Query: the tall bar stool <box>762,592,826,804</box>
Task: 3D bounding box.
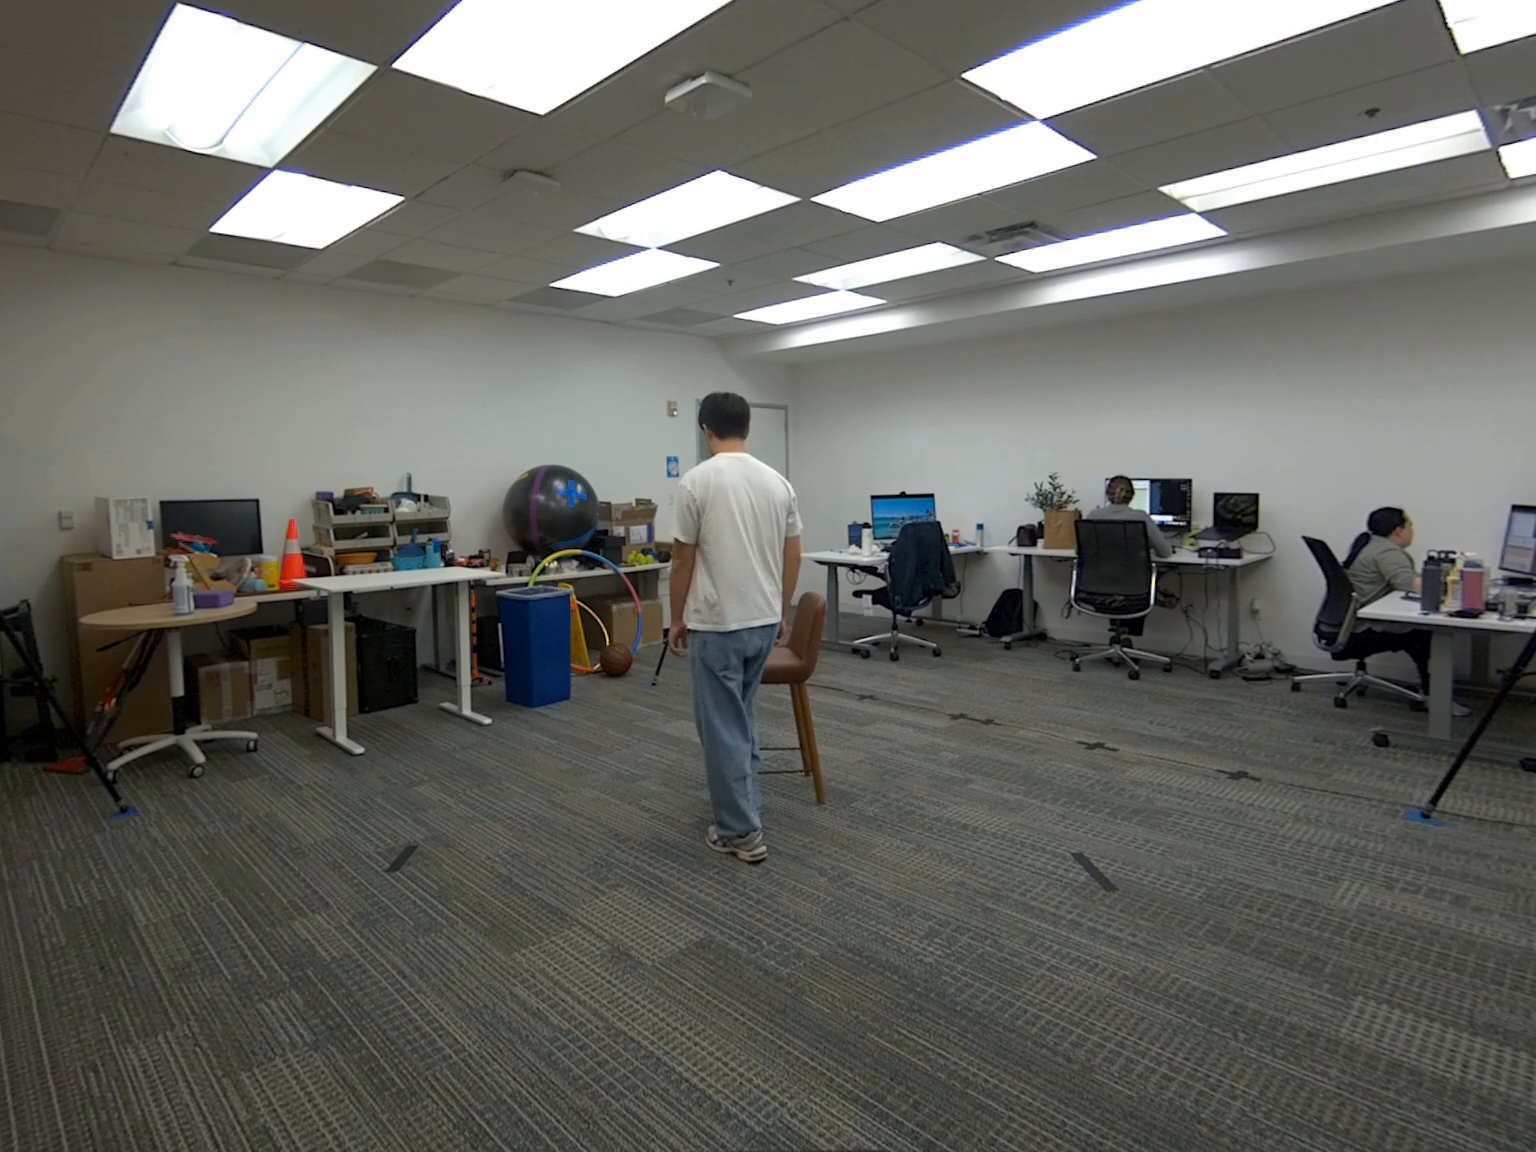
[{"bbox_3d":[0.010,0.534,3.814,0.465,0.887,0.460,0,3,-5],"label":"tall bar stool"}]
